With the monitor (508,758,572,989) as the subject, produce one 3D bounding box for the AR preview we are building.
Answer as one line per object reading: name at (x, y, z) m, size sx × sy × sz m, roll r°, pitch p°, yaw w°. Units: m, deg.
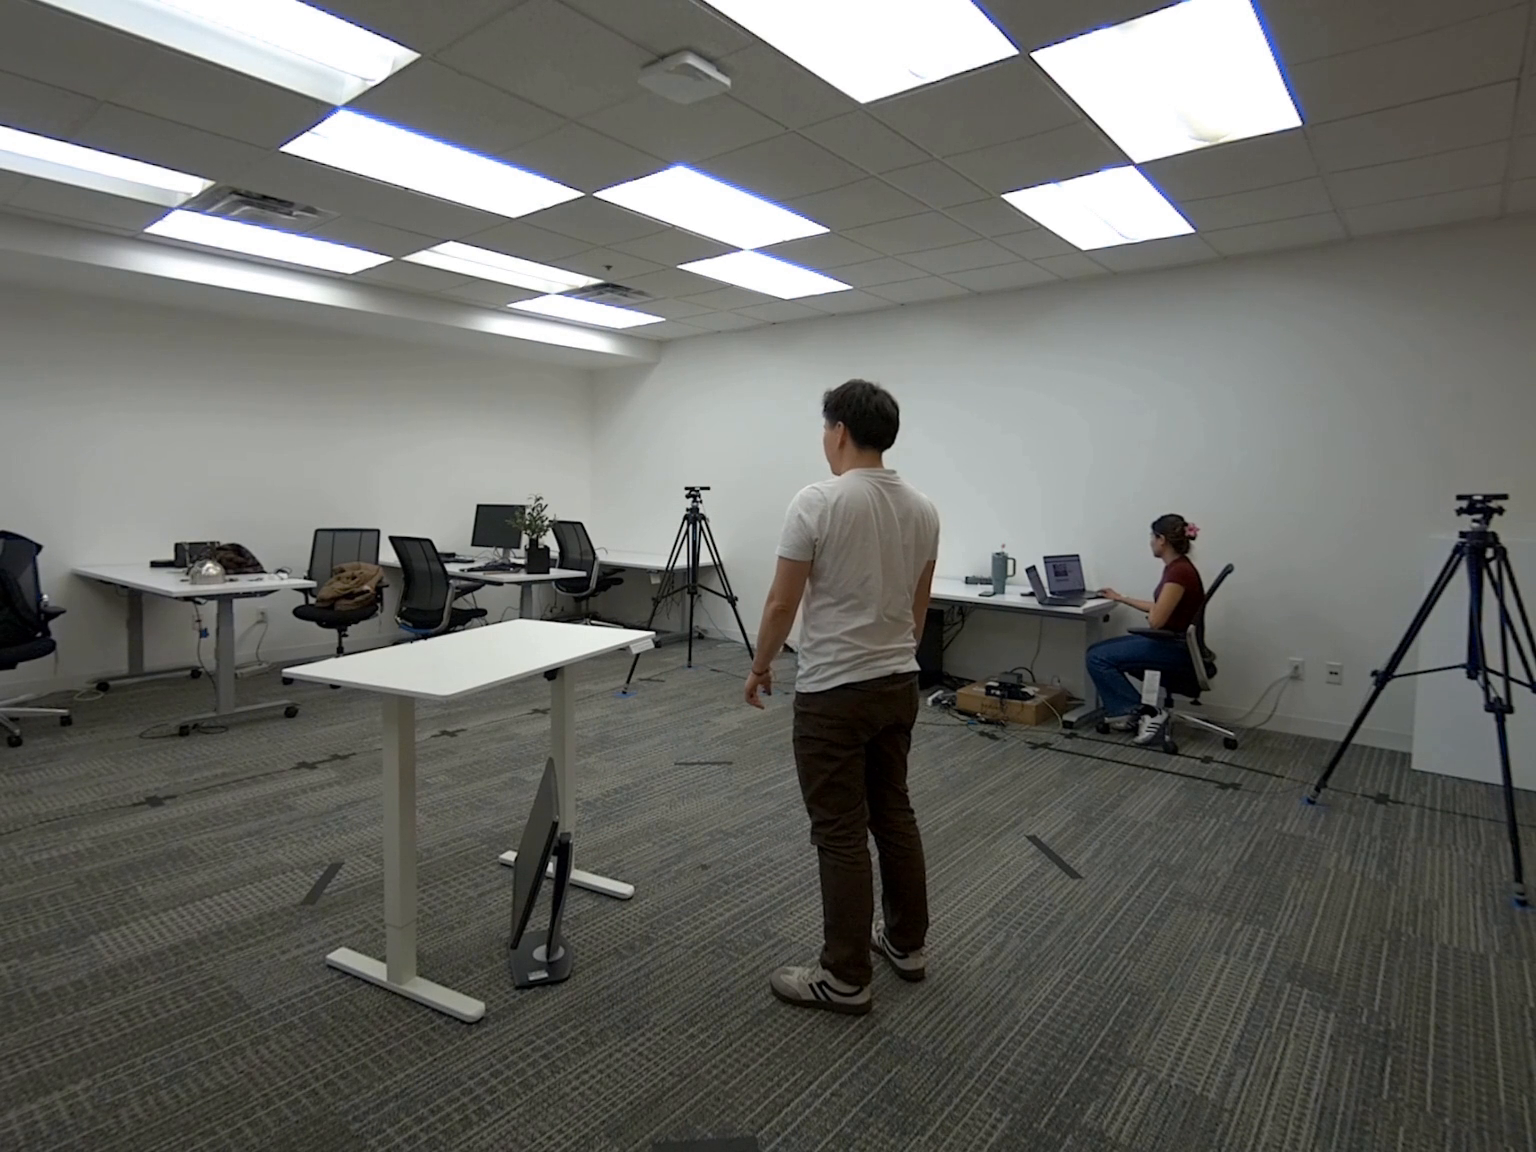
monitor at (-0.667, 0.868, 2.484) m, size 0.184 × 0.521 × 0.550 m, roll 1°, pitch 3°, yaw -18°
